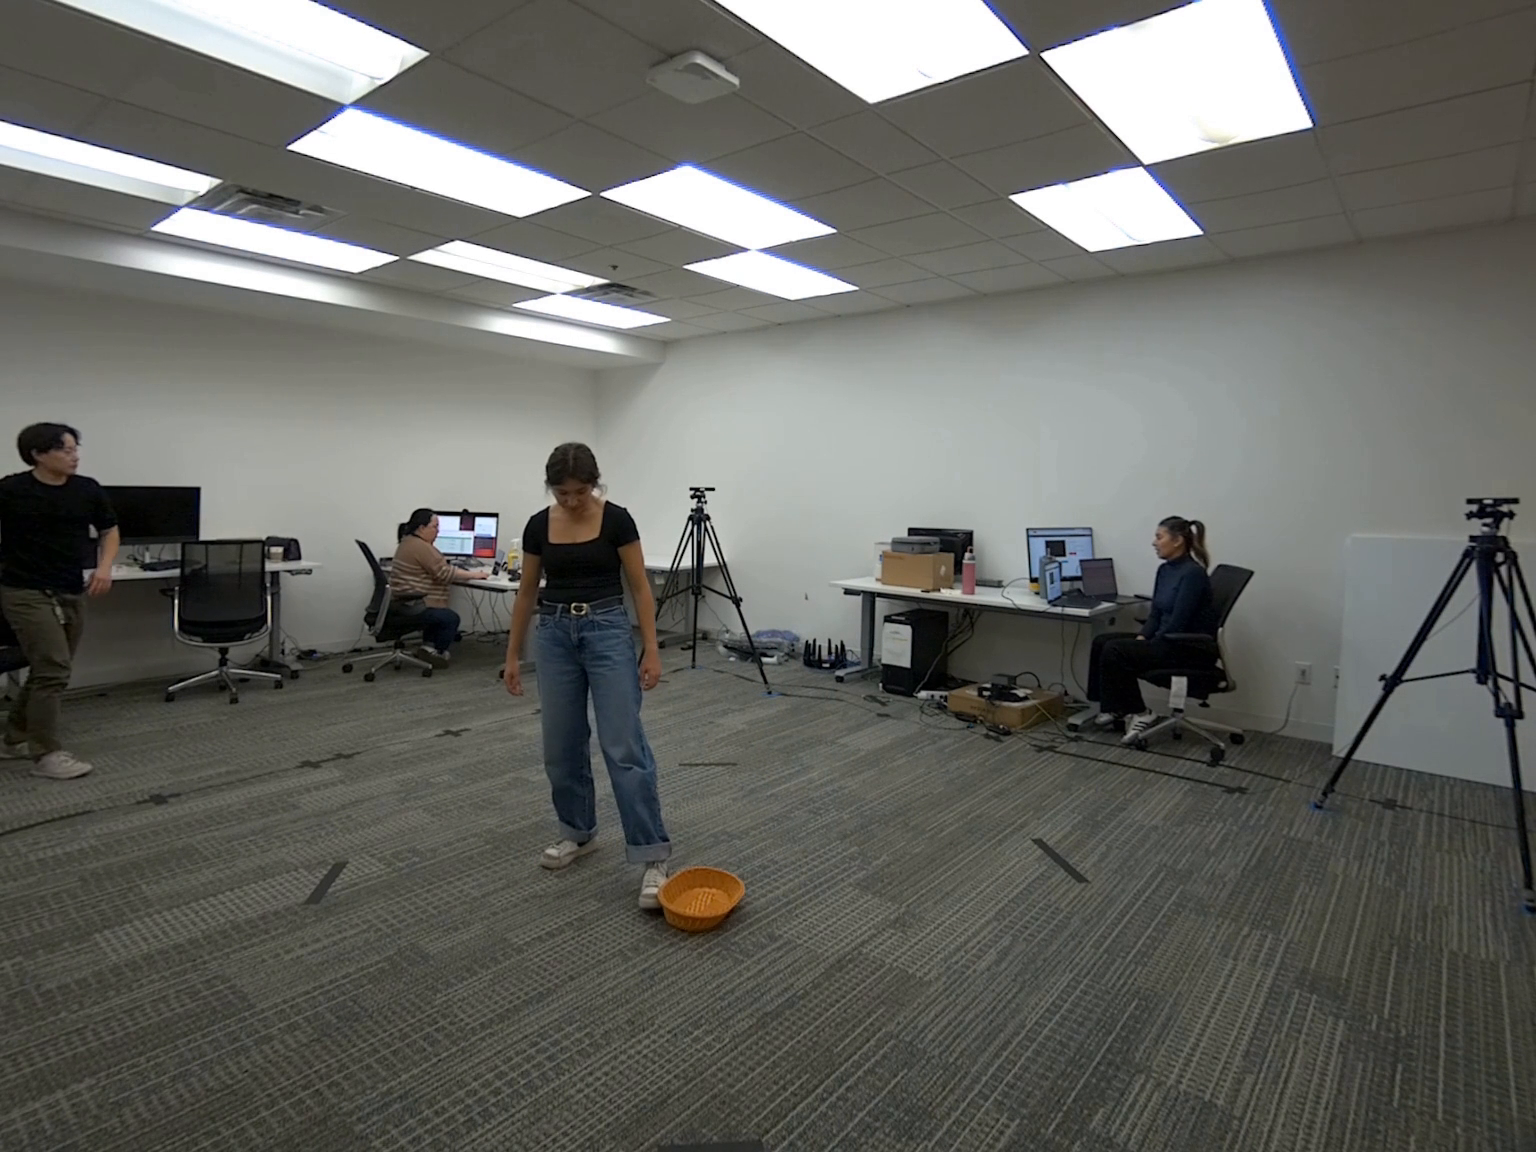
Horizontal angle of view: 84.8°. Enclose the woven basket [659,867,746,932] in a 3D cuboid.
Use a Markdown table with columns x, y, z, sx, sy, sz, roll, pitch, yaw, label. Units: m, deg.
| x | y | z | sx | sy | sz | roll | pitch | yaw | label |
| --- | --- | --- | --- | --- | --- | --- | --- | --- | --- |
| -0.226 | 1.055 | 2.779 | 0.260 | 0.073 | 0.342 | 10 | 7 | 26 | woven basket |
